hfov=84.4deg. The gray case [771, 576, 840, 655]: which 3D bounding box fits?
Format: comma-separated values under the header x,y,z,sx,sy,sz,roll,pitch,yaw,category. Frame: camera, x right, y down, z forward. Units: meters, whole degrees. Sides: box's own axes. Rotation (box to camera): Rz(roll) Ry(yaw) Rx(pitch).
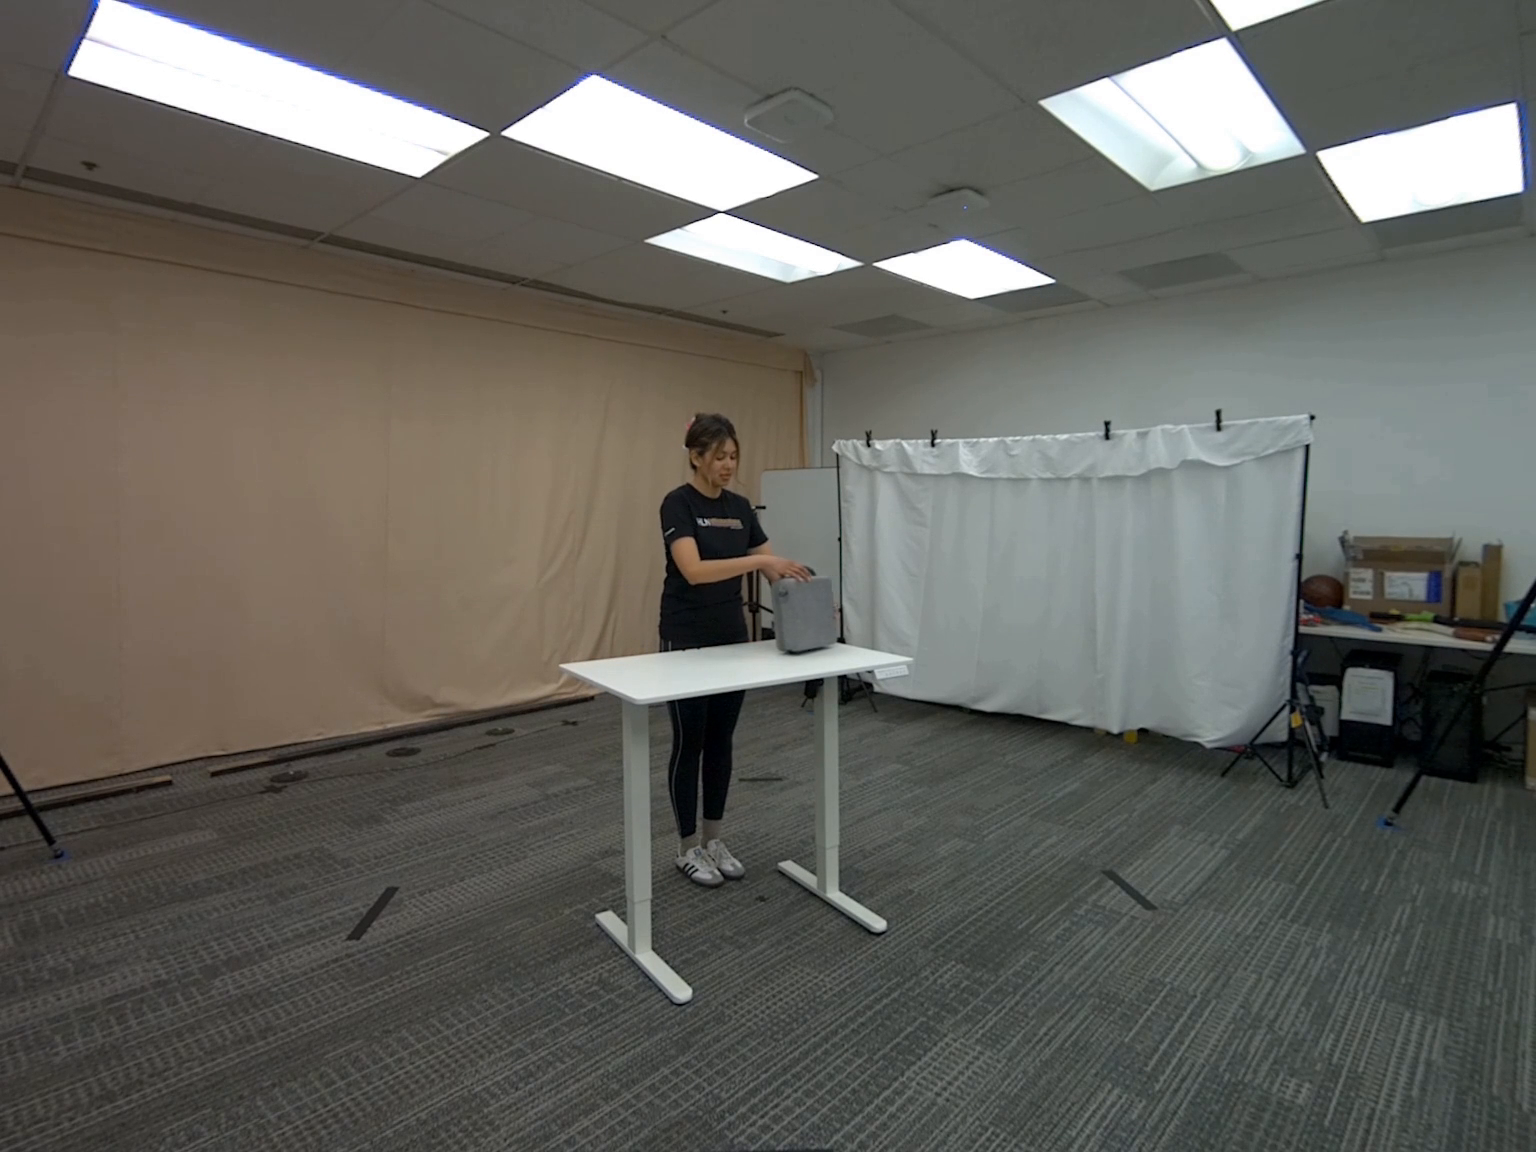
x,y,z,sx,sy,sz,roll,pitch,yaw,category
0.134,0.129,2.933,0.107,0.261,0.249,-6,-1,41,gray case
